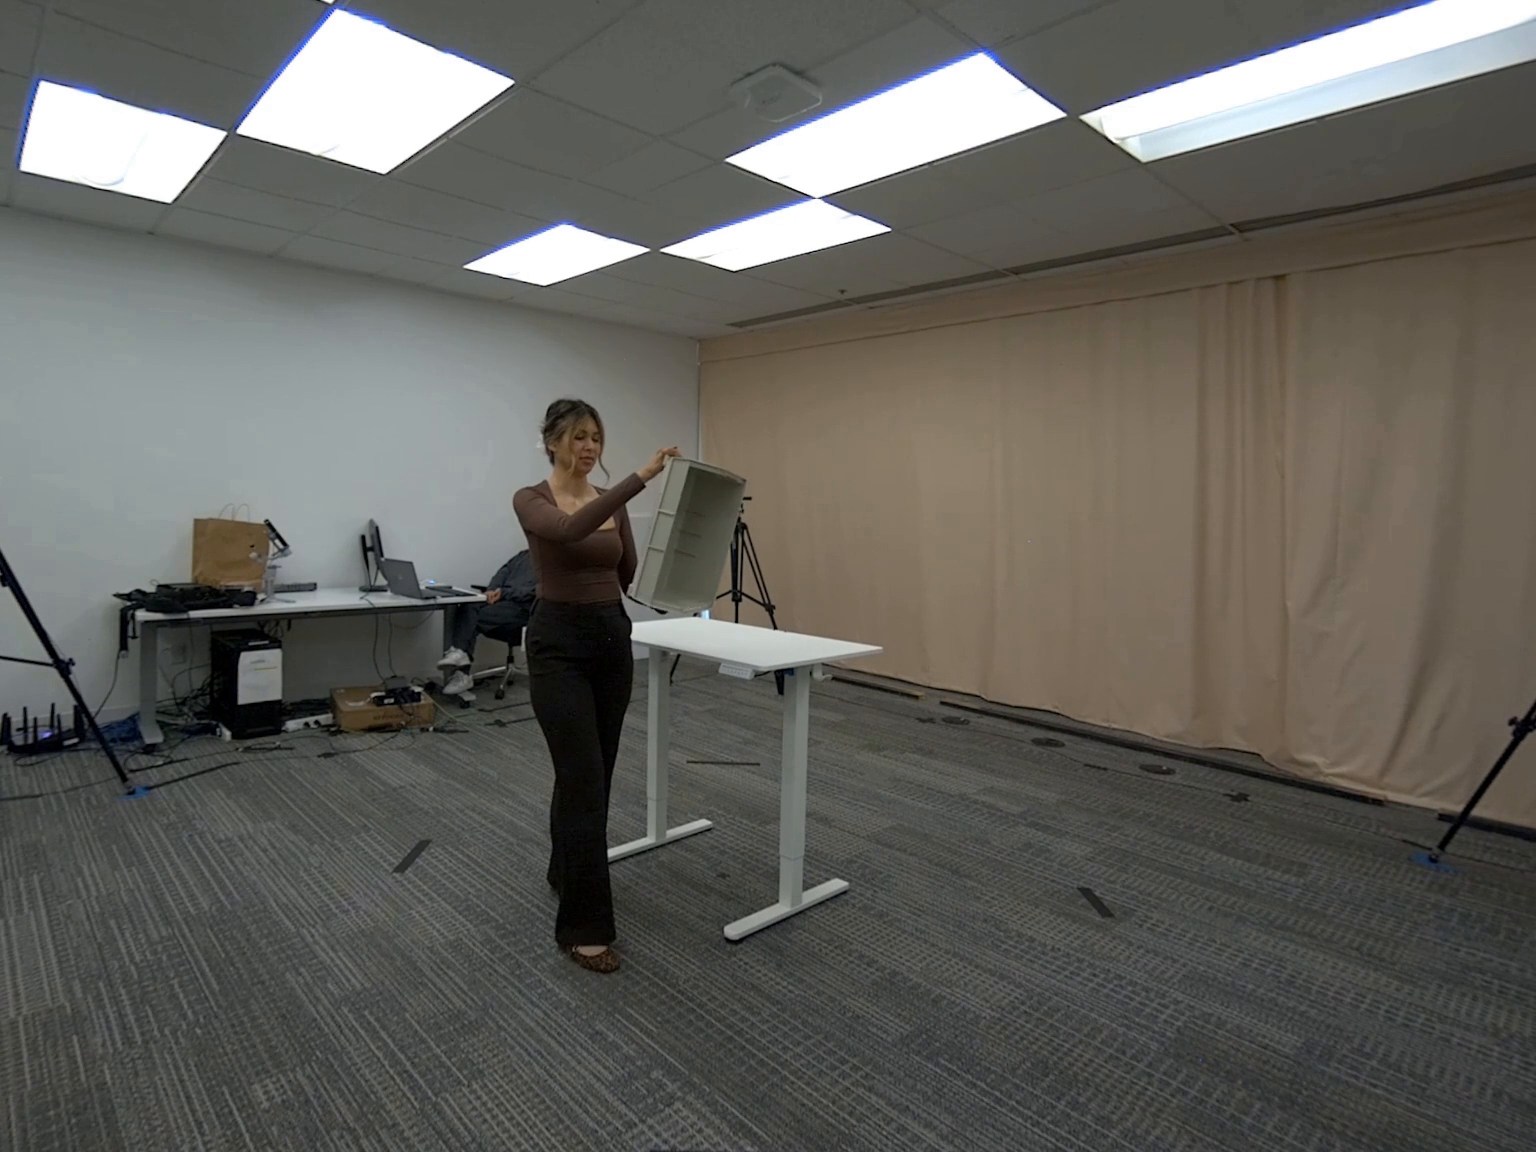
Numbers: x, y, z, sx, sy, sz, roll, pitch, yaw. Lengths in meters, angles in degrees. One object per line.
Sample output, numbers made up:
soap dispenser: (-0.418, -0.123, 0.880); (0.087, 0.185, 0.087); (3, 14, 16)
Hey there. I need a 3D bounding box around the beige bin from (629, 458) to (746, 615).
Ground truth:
beige bin: (-0.239, -0.113, 2.460); (0.191, 0.422, 0.374); (16, 3, 9)
